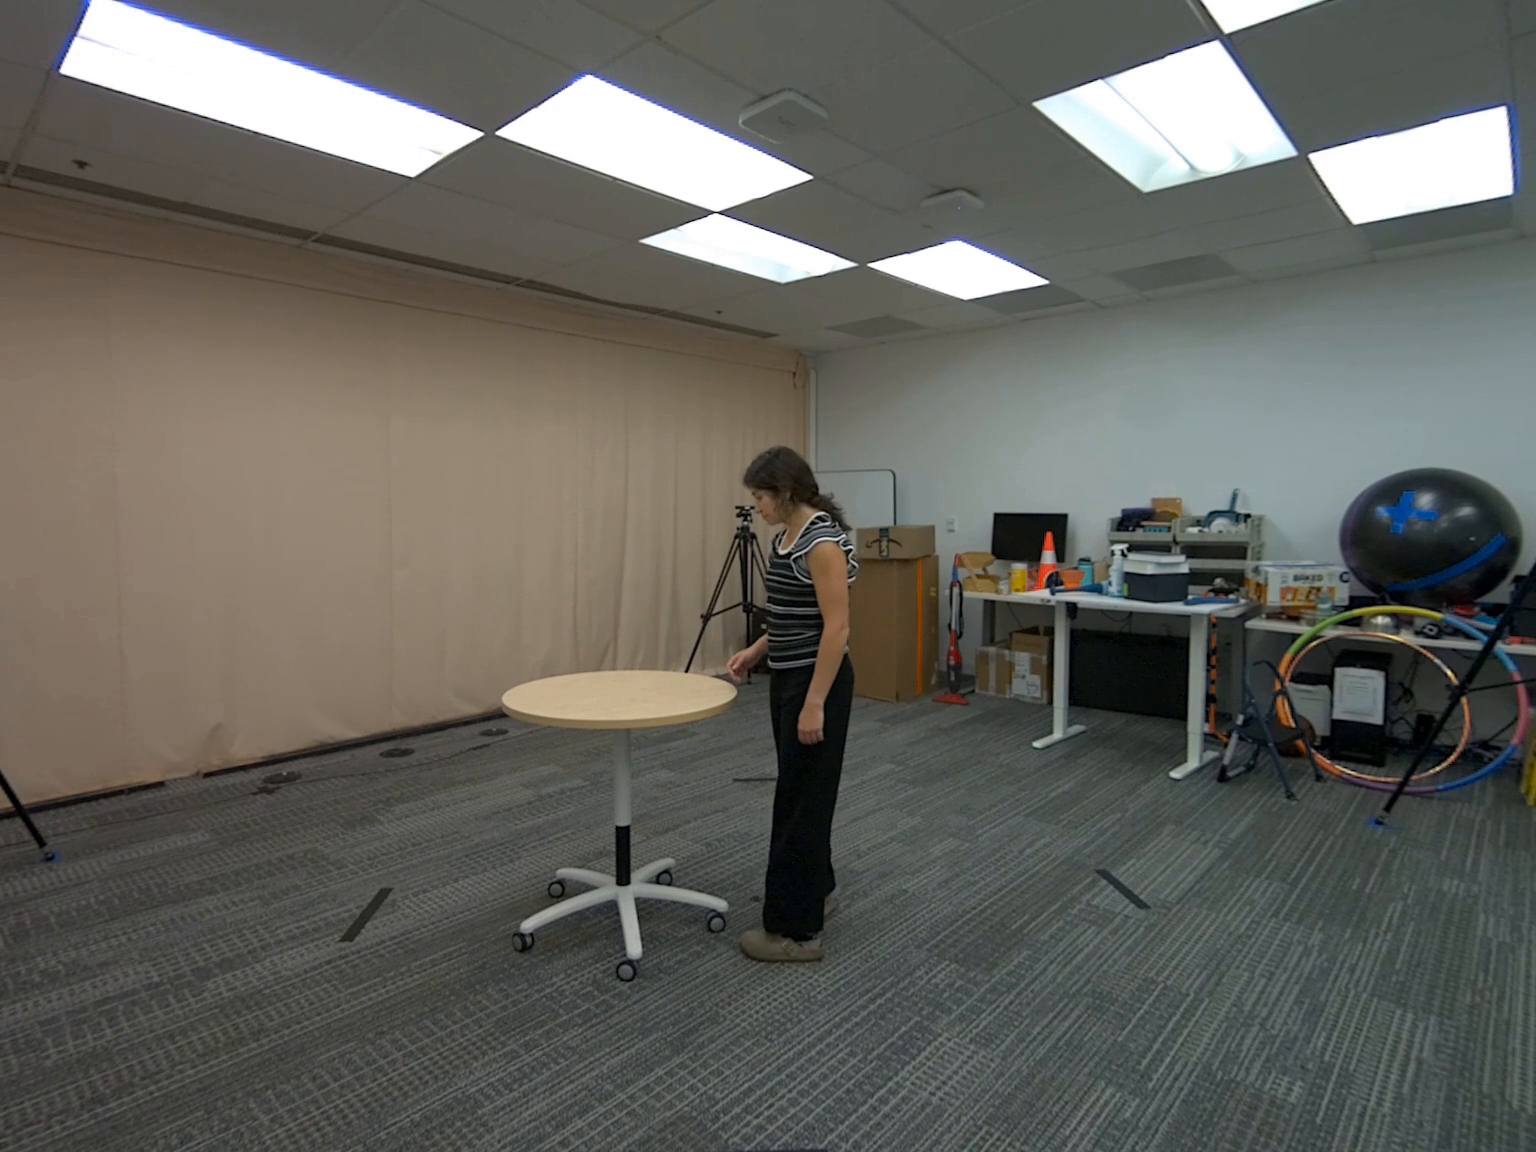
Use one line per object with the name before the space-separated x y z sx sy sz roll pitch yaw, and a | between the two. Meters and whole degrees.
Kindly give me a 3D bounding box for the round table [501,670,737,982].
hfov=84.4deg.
round table | -0.489 0.778 2.788 0.763 0.792 0.766 0 3 -2
